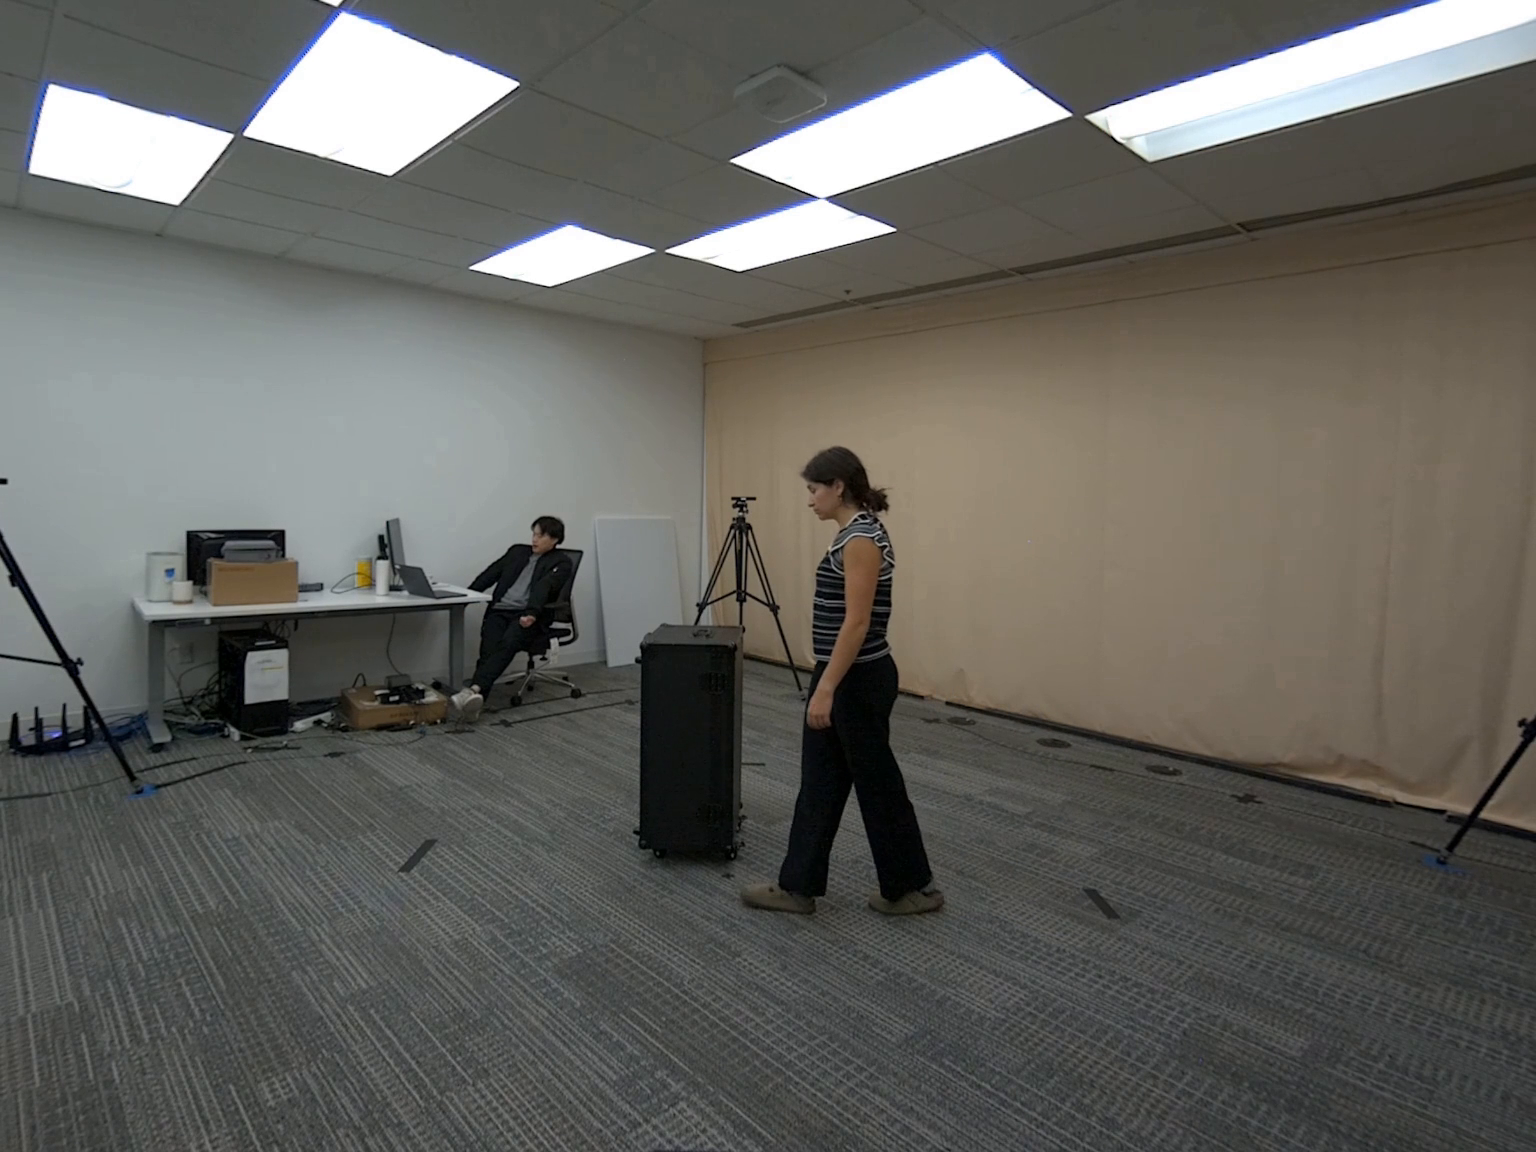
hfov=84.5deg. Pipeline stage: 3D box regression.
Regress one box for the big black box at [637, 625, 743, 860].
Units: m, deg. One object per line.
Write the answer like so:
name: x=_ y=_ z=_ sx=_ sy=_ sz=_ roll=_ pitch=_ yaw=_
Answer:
big black box: x=-0.314 y=0.657 z=3.365 sx=0.397 sy=0.859 sz=0.521 roll=0 pitch=3 yaw=3
